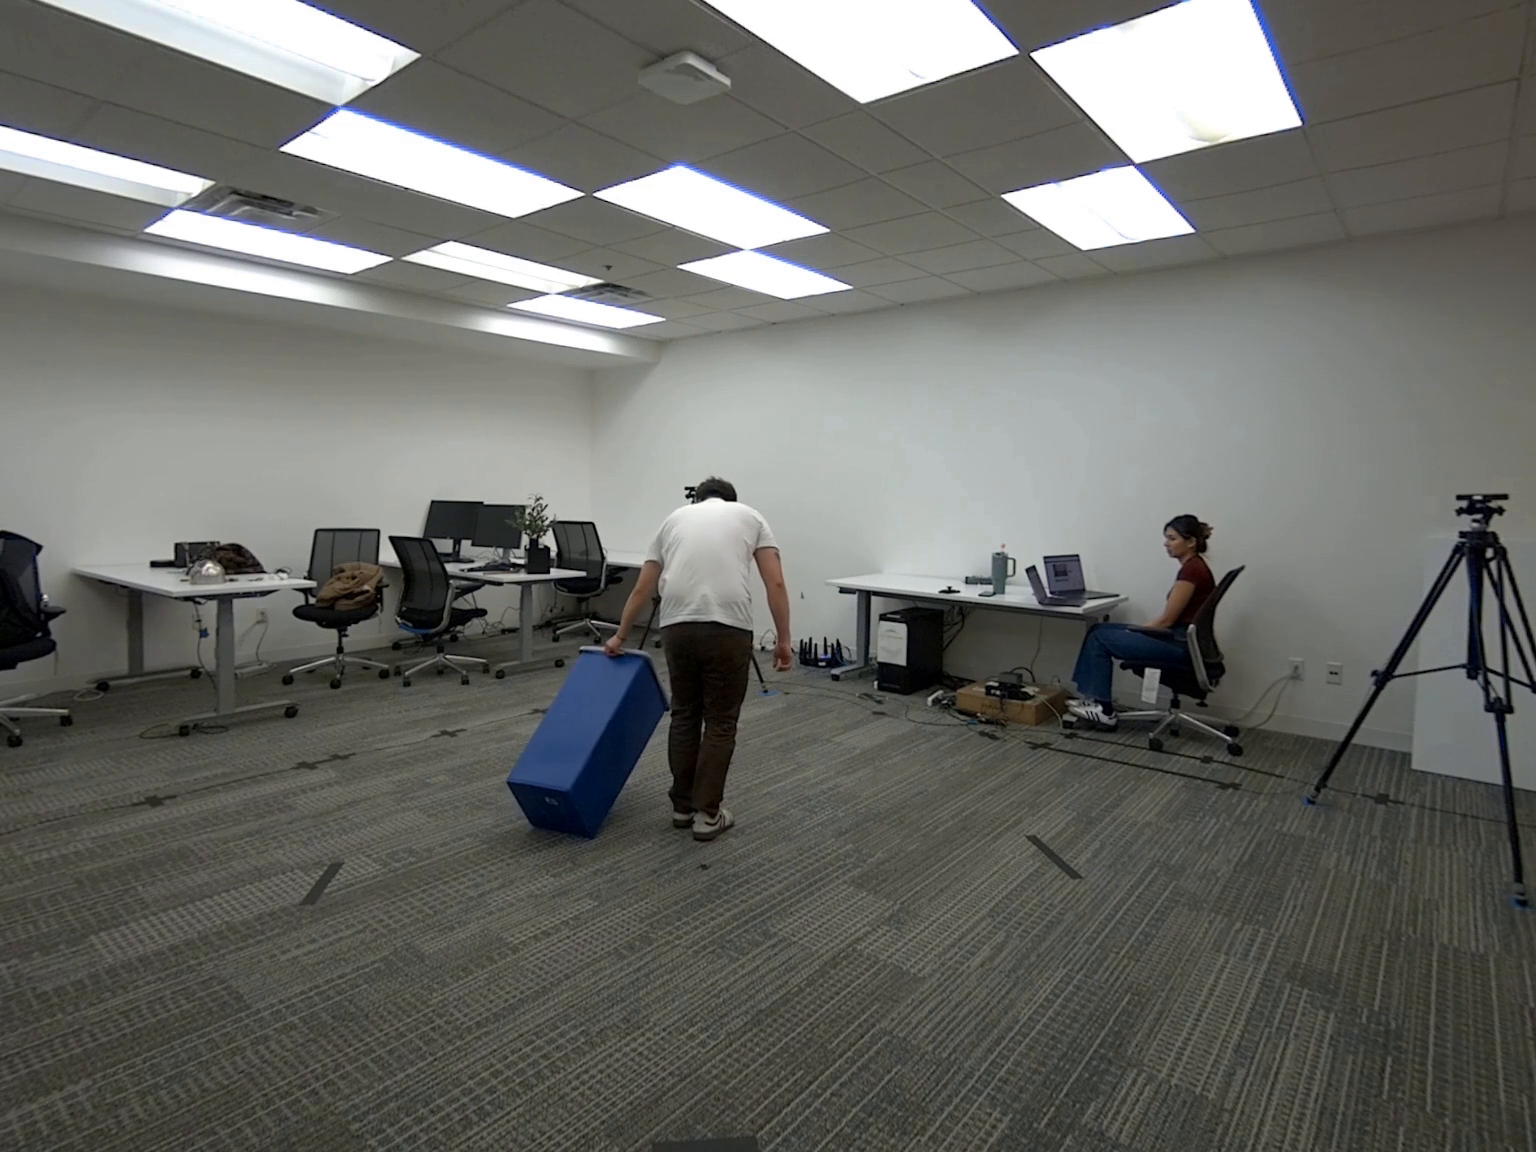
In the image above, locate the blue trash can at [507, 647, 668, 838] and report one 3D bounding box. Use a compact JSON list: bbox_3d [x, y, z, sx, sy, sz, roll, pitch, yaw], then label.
[{"bbox_3d":[-0.765,0.681,3.575,0.383,0.365,0.721,2,40,23],"label":"blue trash can"}]
